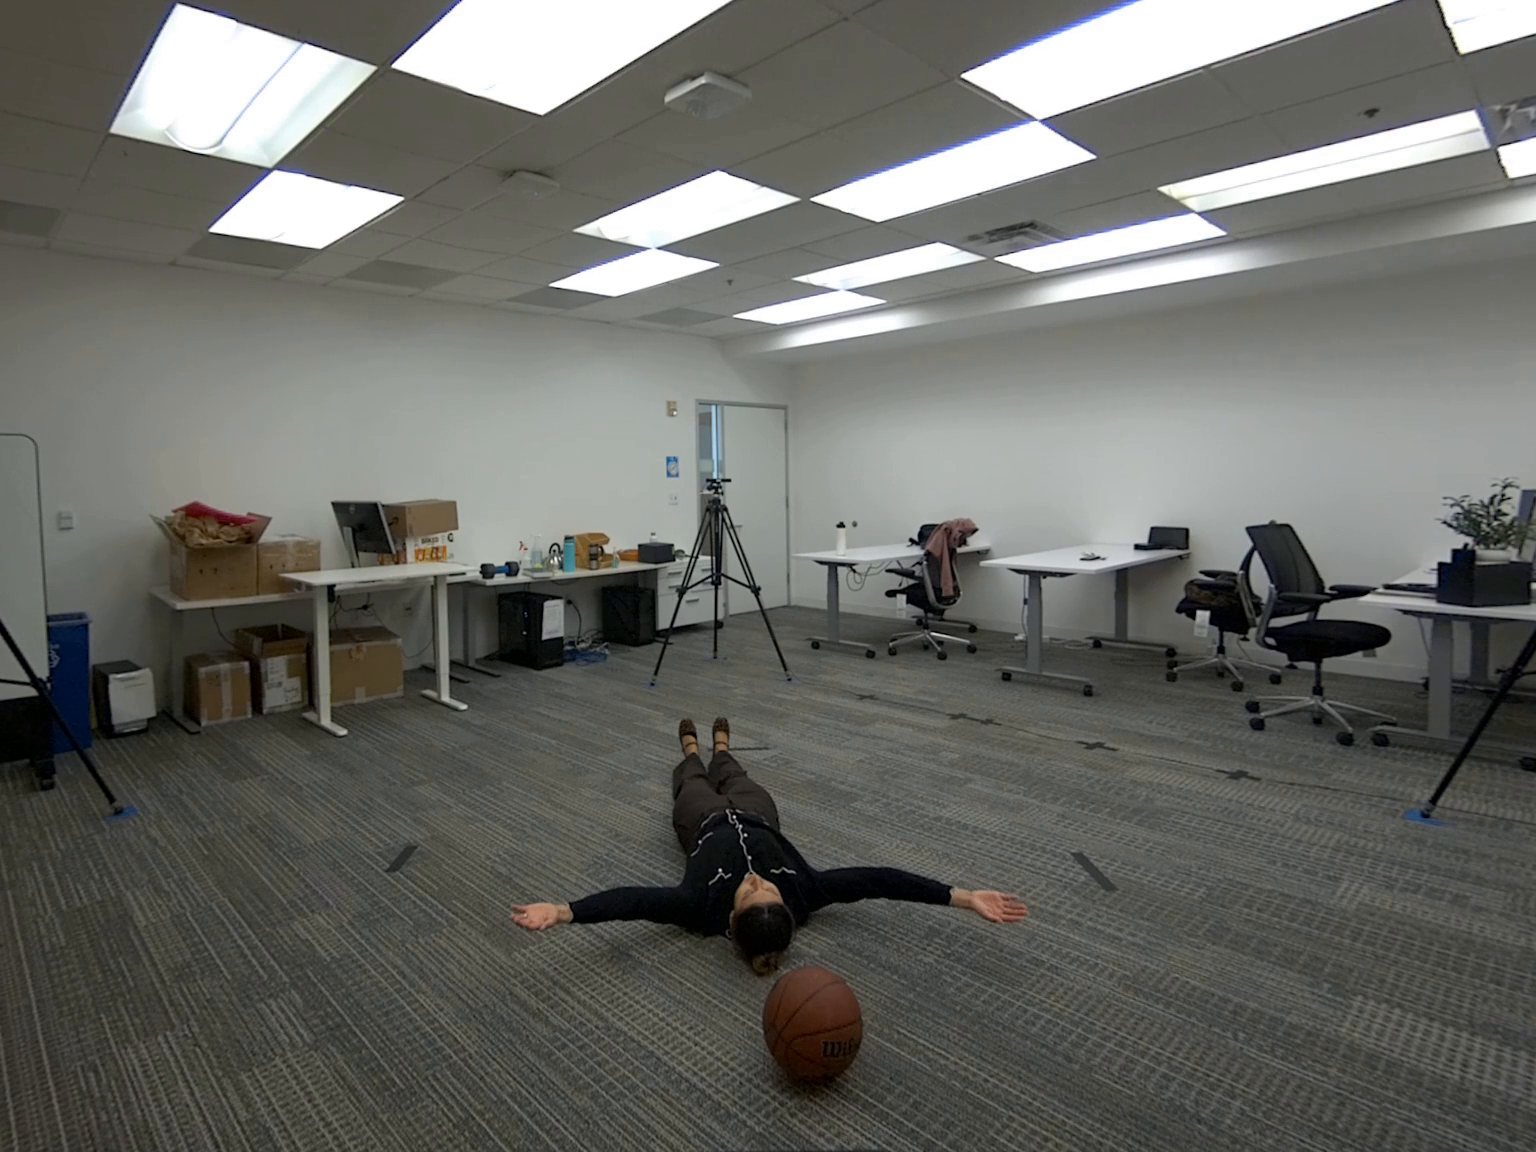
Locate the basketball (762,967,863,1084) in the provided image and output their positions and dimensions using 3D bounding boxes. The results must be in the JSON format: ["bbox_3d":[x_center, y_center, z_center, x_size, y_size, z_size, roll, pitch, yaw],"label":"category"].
[{"bbox_3d":[0.114,1.051,2.015,0.236,0.235,0.237,-1,5,-2],"label":"basketball"}]
